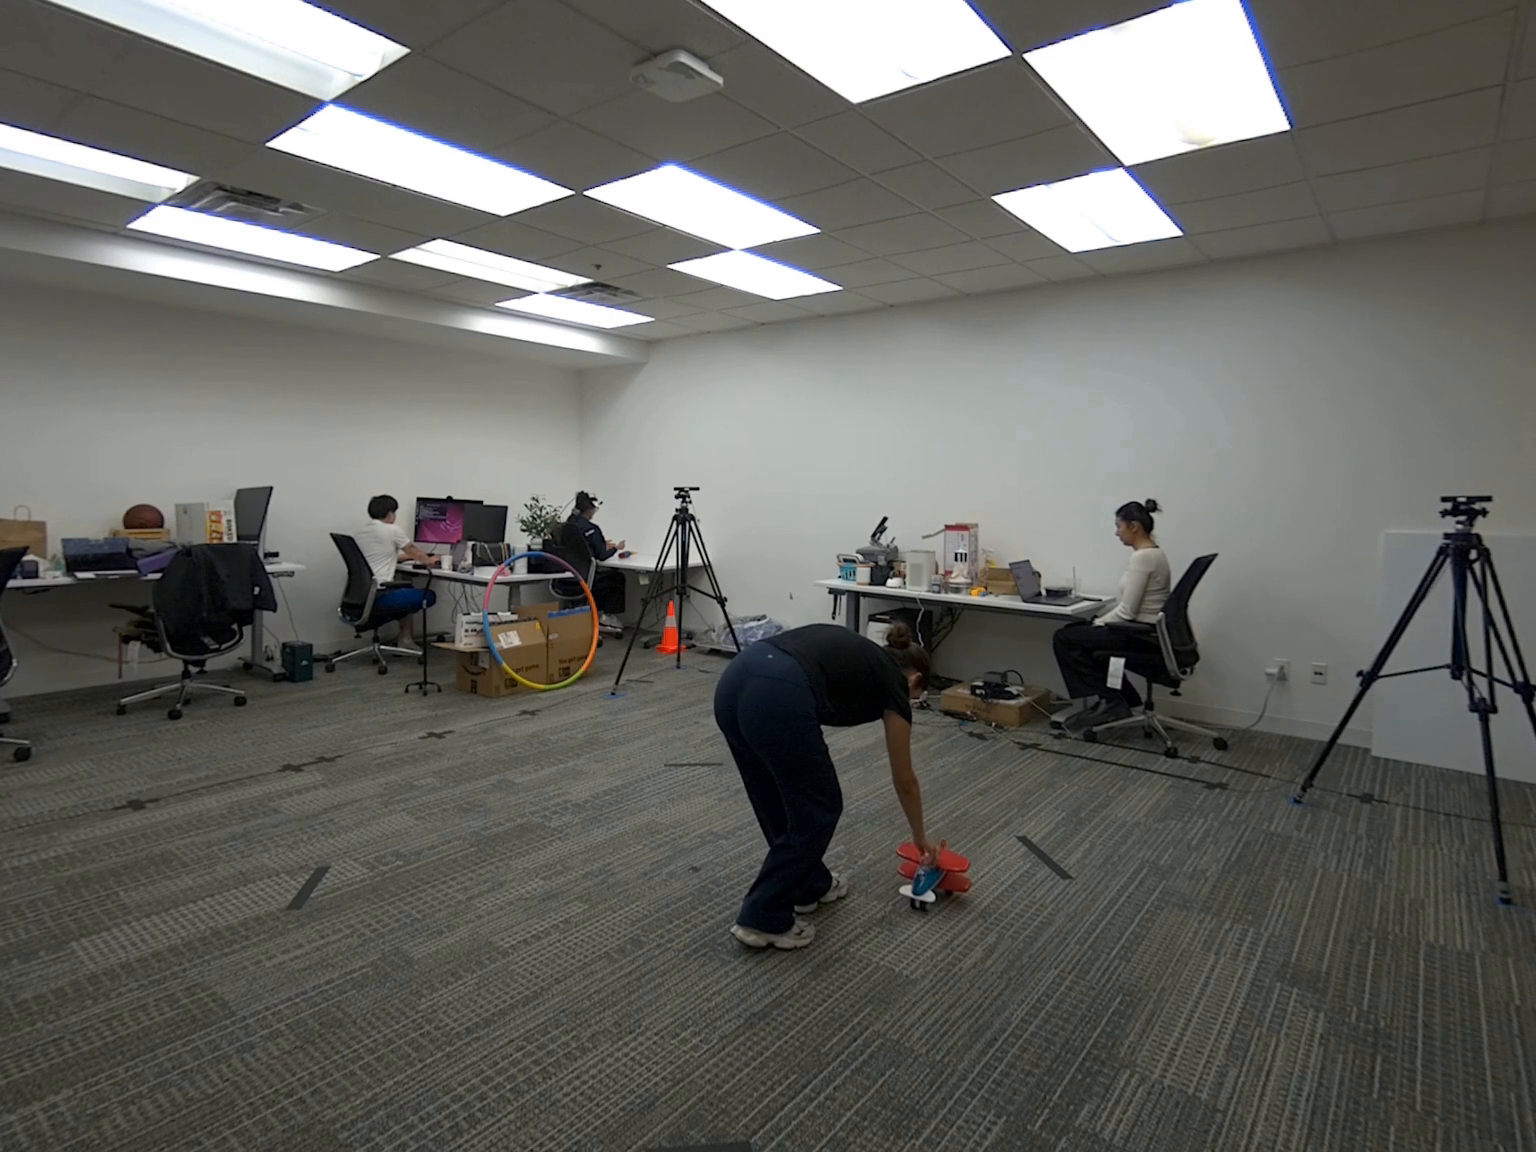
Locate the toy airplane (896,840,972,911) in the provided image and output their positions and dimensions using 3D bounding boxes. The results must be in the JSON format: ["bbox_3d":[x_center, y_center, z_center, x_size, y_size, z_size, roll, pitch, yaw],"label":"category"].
[{"bbox_3d":[0.585,1.028,2.907,0.253,0.156,0.258,1,3,6],"label":"toy airplane"}]
